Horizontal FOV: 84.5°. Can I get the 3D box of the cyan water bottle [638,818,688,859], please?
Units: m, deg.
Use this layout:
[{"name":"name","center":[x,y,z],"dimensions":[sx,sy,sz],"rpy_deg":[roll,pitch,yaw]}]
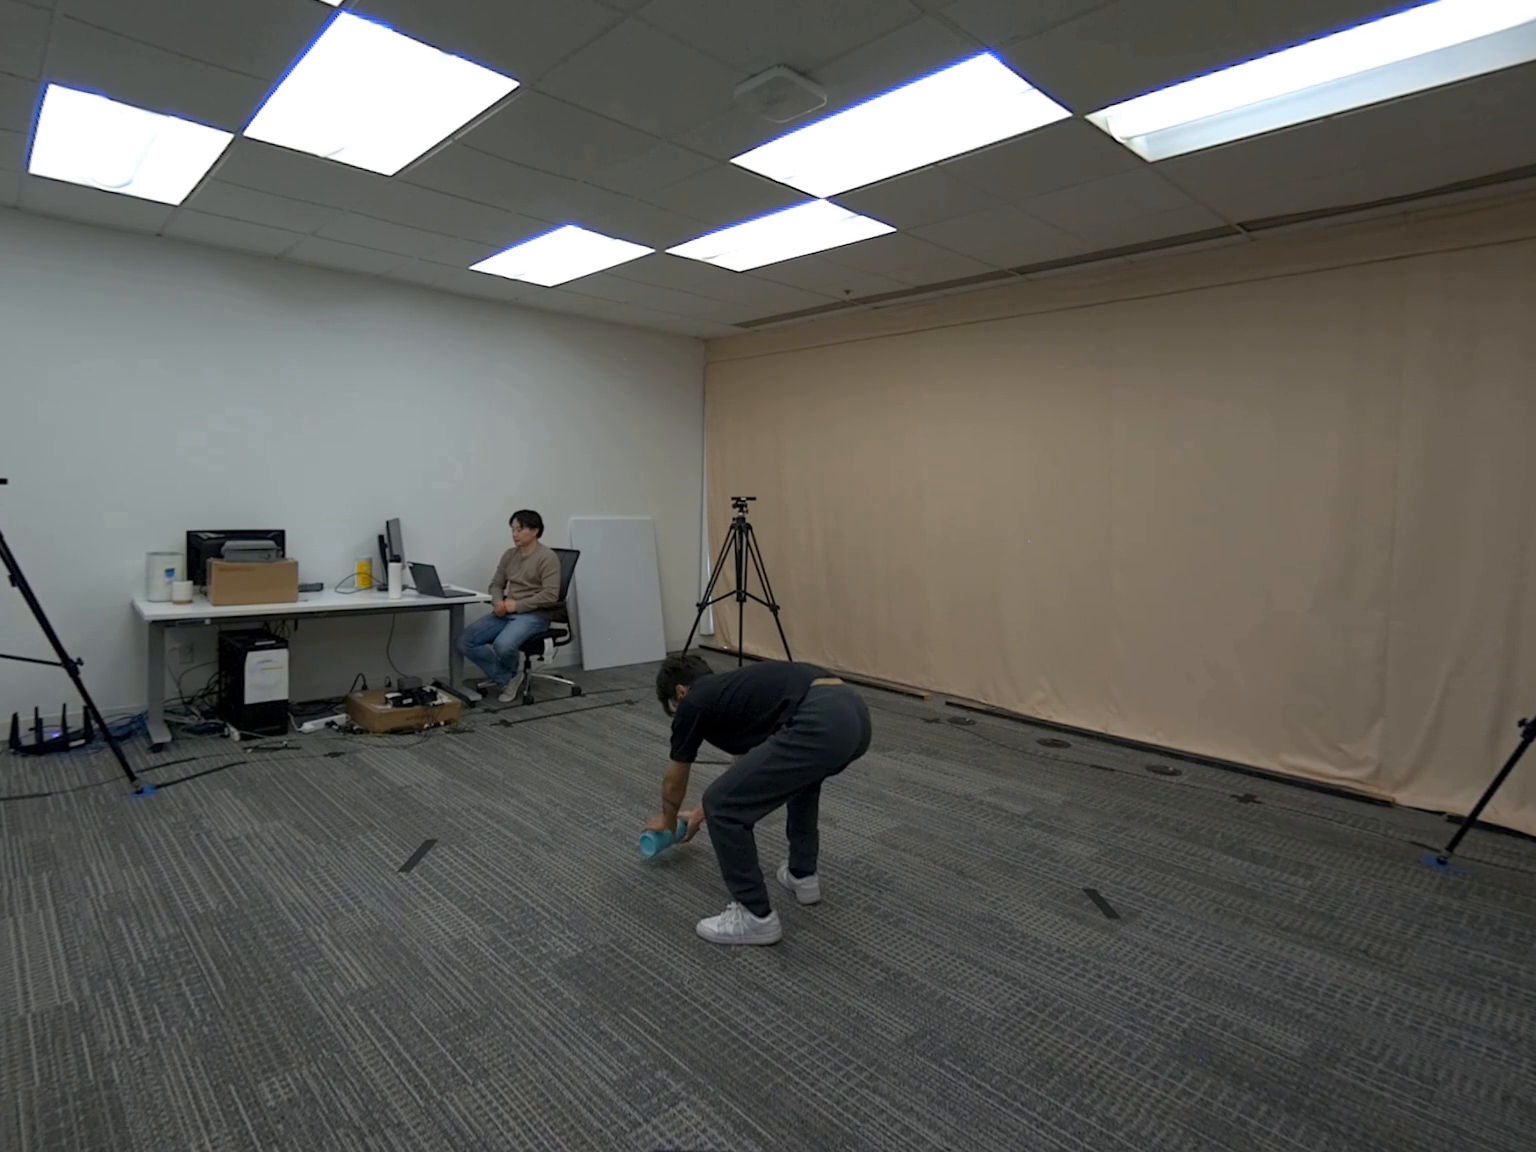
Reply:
[{"name":"cyan water bottle","center":[-0.388,0.994,3.271],"dimensions":[0.094,0.091,0.278],"rpy_deg":[5,13,37]}]
